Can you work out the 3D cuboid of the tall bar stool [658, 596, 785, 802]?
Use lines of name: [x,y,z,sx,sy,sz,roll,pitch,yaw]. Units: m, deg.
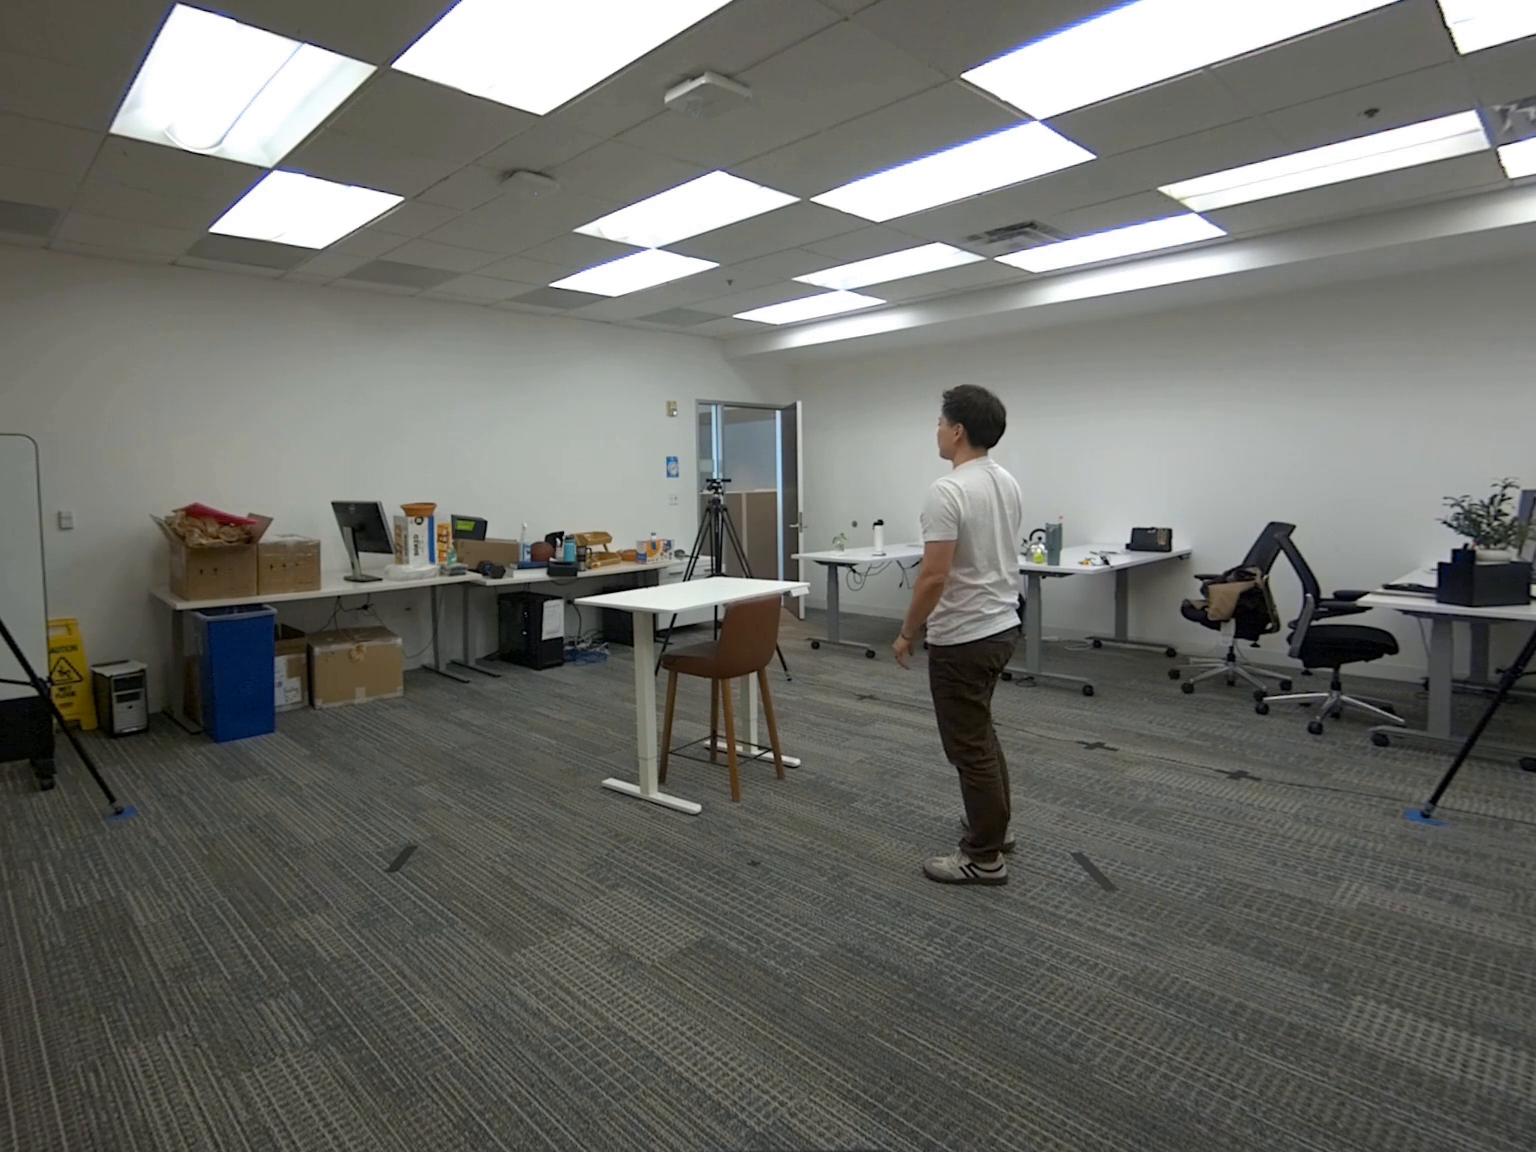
tall bar stool: [-0.215,0.521,3.951,0.482,0.886,0.445,4,6,38]
